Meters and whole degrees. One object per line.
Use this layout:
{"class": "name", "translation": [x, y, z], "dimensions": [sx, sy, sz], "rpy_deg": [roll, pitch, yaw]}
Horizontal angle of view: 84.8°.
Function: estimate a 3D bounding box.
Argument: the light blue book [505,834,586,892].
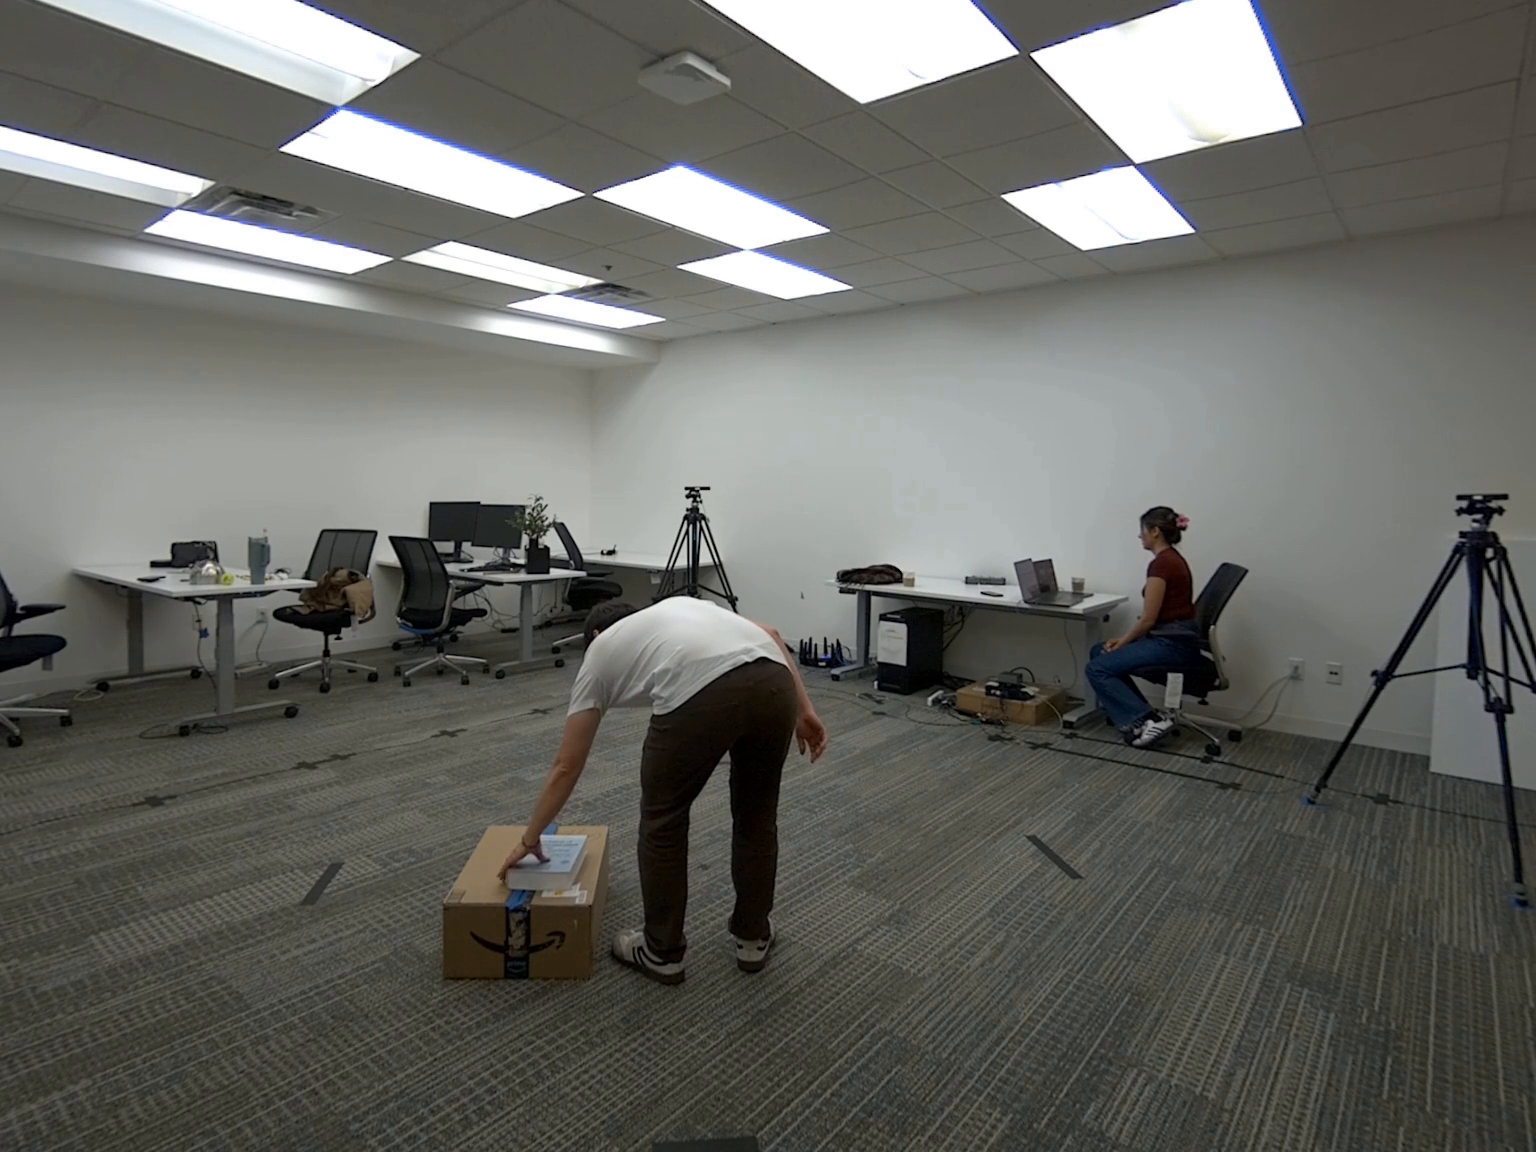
{"class": "light blue book", "translation": [-0.690, 0.879, 2.607], "dimensions": [0.192, 0.059, 0.262], "rpy_deg": [0, 6, 0]}
